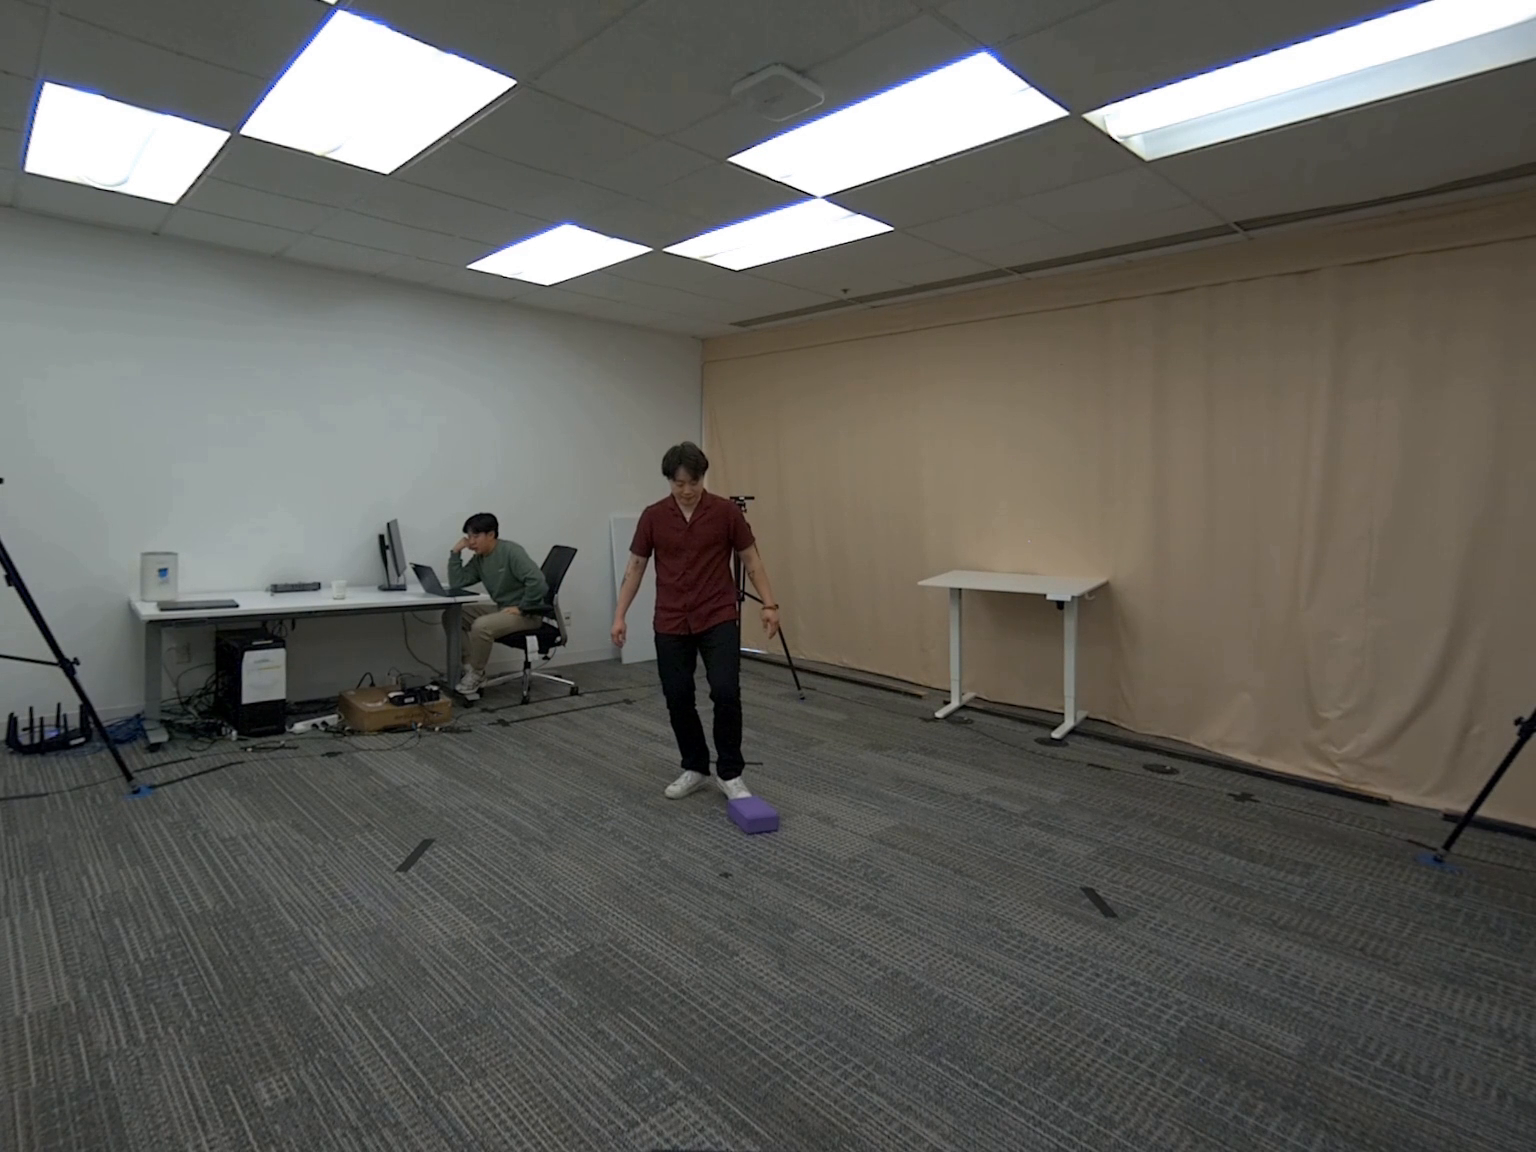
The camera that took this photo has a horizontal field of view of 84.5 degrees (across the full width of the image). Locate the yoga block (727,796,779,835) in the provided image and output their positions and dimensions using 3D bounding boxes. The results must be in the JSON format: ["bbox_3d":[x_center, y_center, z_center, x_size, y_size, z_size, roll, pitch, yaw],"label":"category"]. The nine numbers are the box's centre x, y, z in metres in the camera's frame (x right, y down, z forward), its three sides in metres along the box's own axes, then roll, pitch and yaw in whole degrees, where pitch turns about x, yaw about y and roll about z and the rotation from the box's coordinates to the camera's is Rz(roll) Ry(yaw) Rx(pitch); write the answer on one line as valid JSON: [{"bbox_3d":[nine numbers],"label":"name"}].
[{"bbox_3d":[-0.072,1.020,3.599,0.146,0.076,0.234,-2,6,-25],"label":"yoga block"}]
